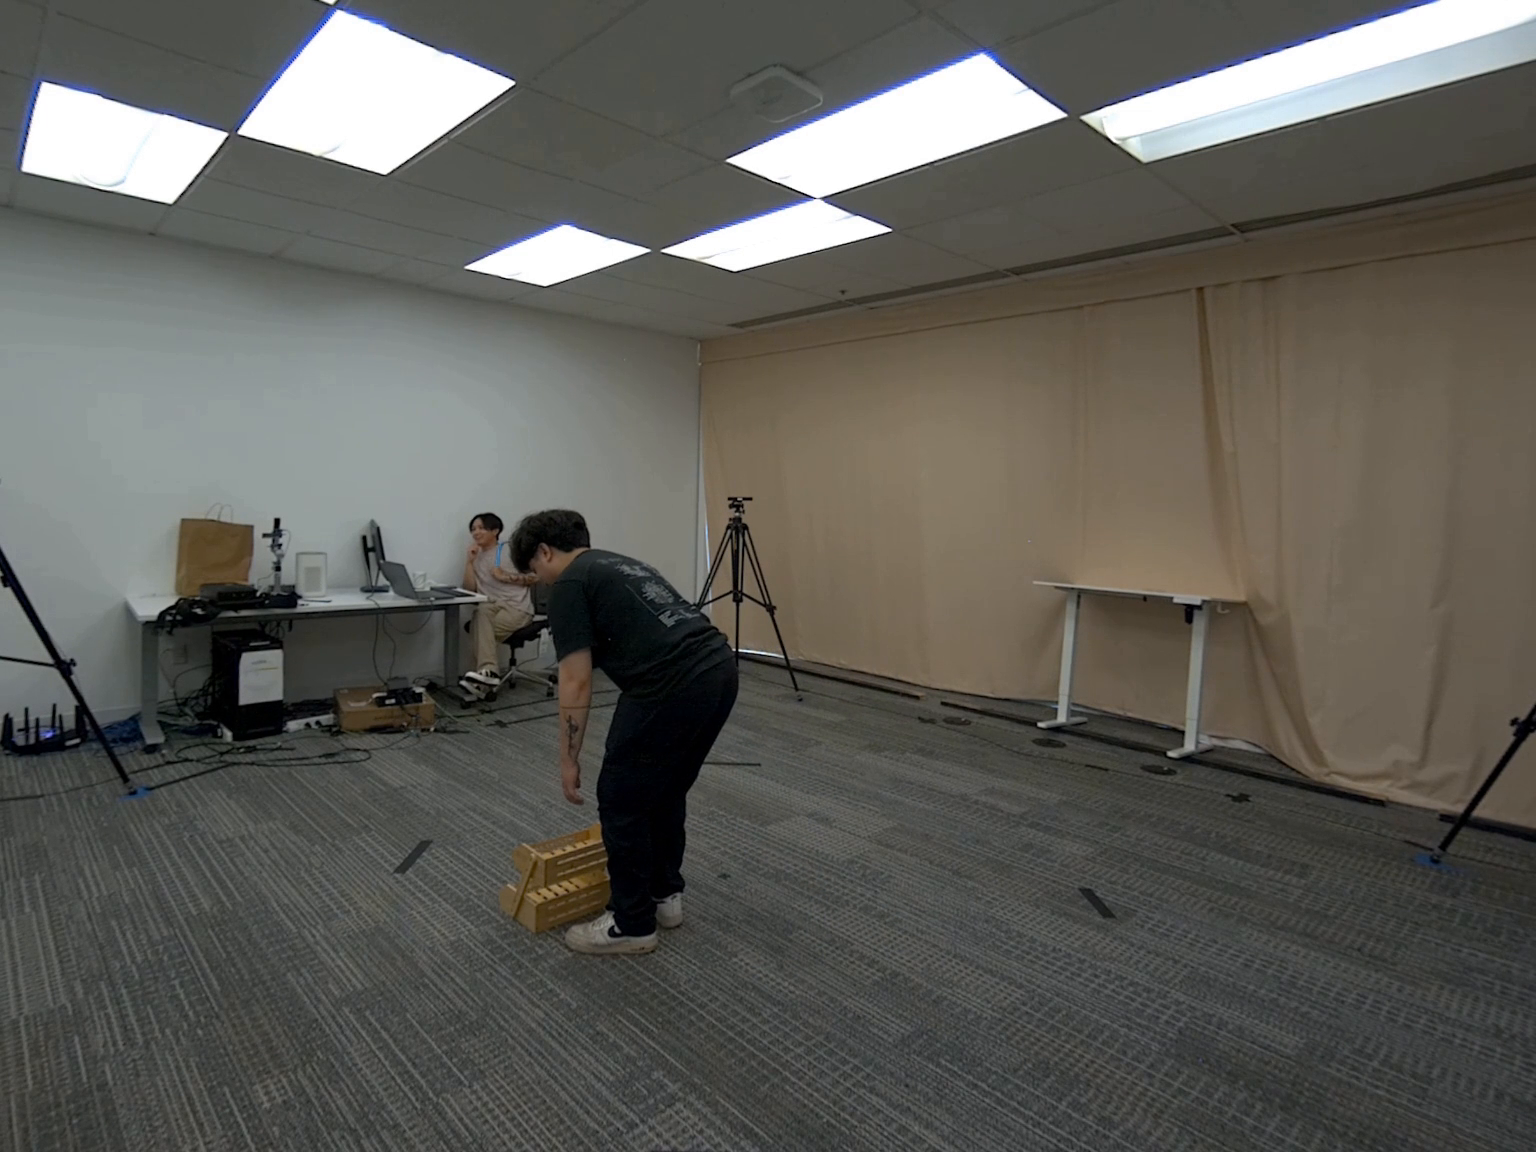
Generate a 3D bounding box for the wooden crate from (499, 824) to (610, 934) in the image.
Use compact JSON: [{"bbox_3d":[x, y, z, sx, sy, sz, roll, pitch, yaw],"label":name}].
[{"bbox_3d":[-0.707,0.989,2.830,0.317,0.272,0.310,-3,7,-44],"label":"wooden crate"}]
